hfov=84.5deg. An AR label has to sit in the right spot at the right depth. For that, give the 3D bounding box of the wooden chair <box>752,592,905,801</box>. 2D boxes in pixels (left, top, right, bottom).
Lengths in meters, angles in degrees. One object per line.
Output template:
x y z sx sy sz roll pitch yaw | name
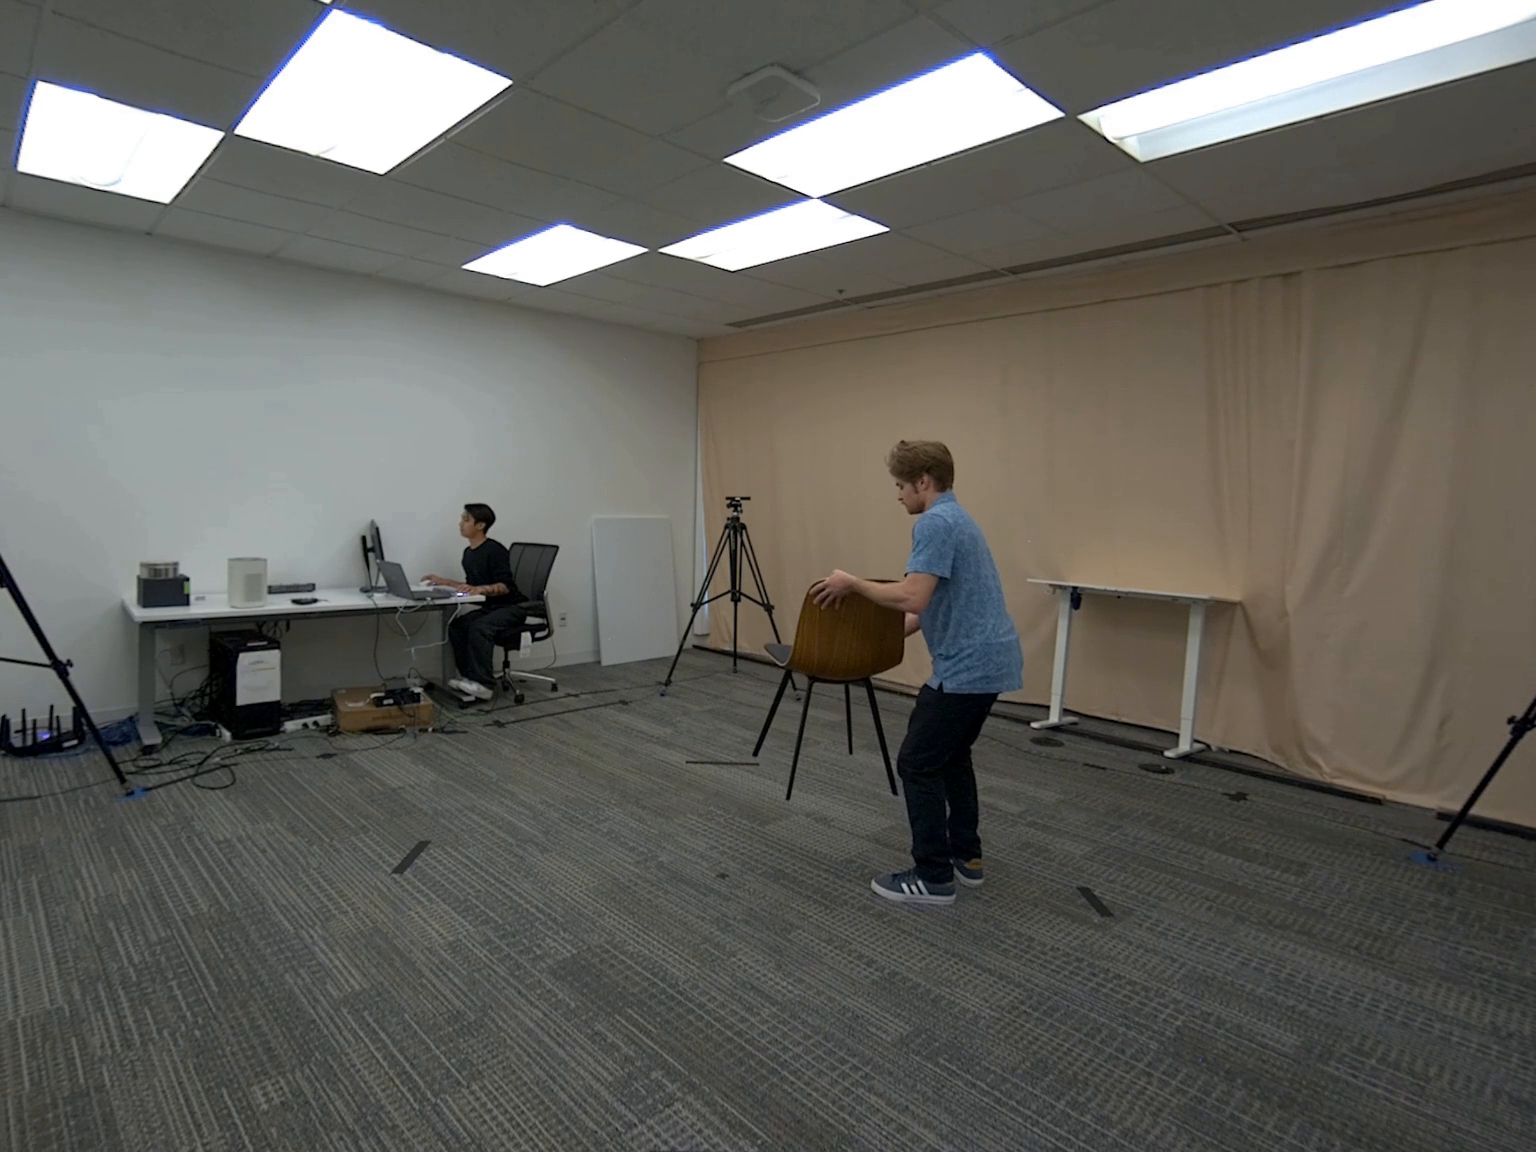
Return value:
0.232 0.381 3.331 0.472 0.871 0.533 1 11 -16 | wooden chair
